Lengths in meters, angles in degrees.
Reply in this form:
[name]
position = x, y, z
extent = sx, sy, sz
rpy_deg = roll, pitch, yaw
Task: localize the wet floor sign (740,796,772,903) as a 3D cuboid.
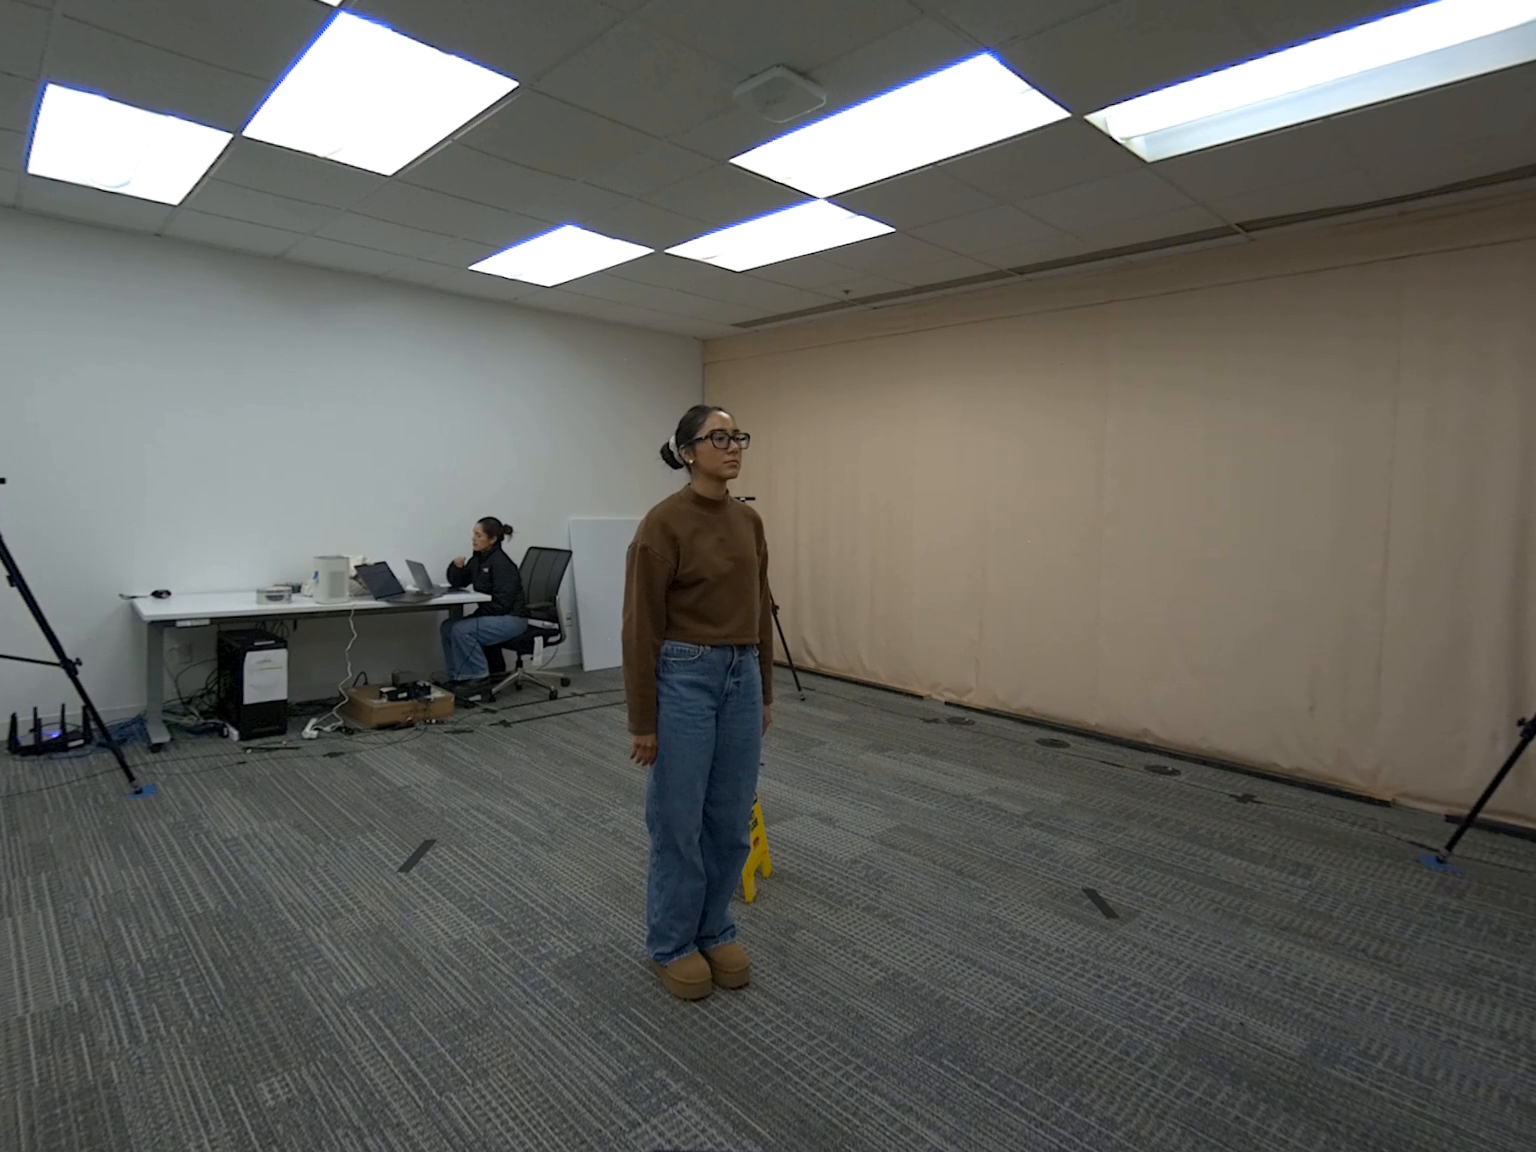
[wet floor sign]
position = -0.145, 0.793, 3.043
extent = 0.294, 0.644, 0.279
rpy_deg = 3, 4, 17
